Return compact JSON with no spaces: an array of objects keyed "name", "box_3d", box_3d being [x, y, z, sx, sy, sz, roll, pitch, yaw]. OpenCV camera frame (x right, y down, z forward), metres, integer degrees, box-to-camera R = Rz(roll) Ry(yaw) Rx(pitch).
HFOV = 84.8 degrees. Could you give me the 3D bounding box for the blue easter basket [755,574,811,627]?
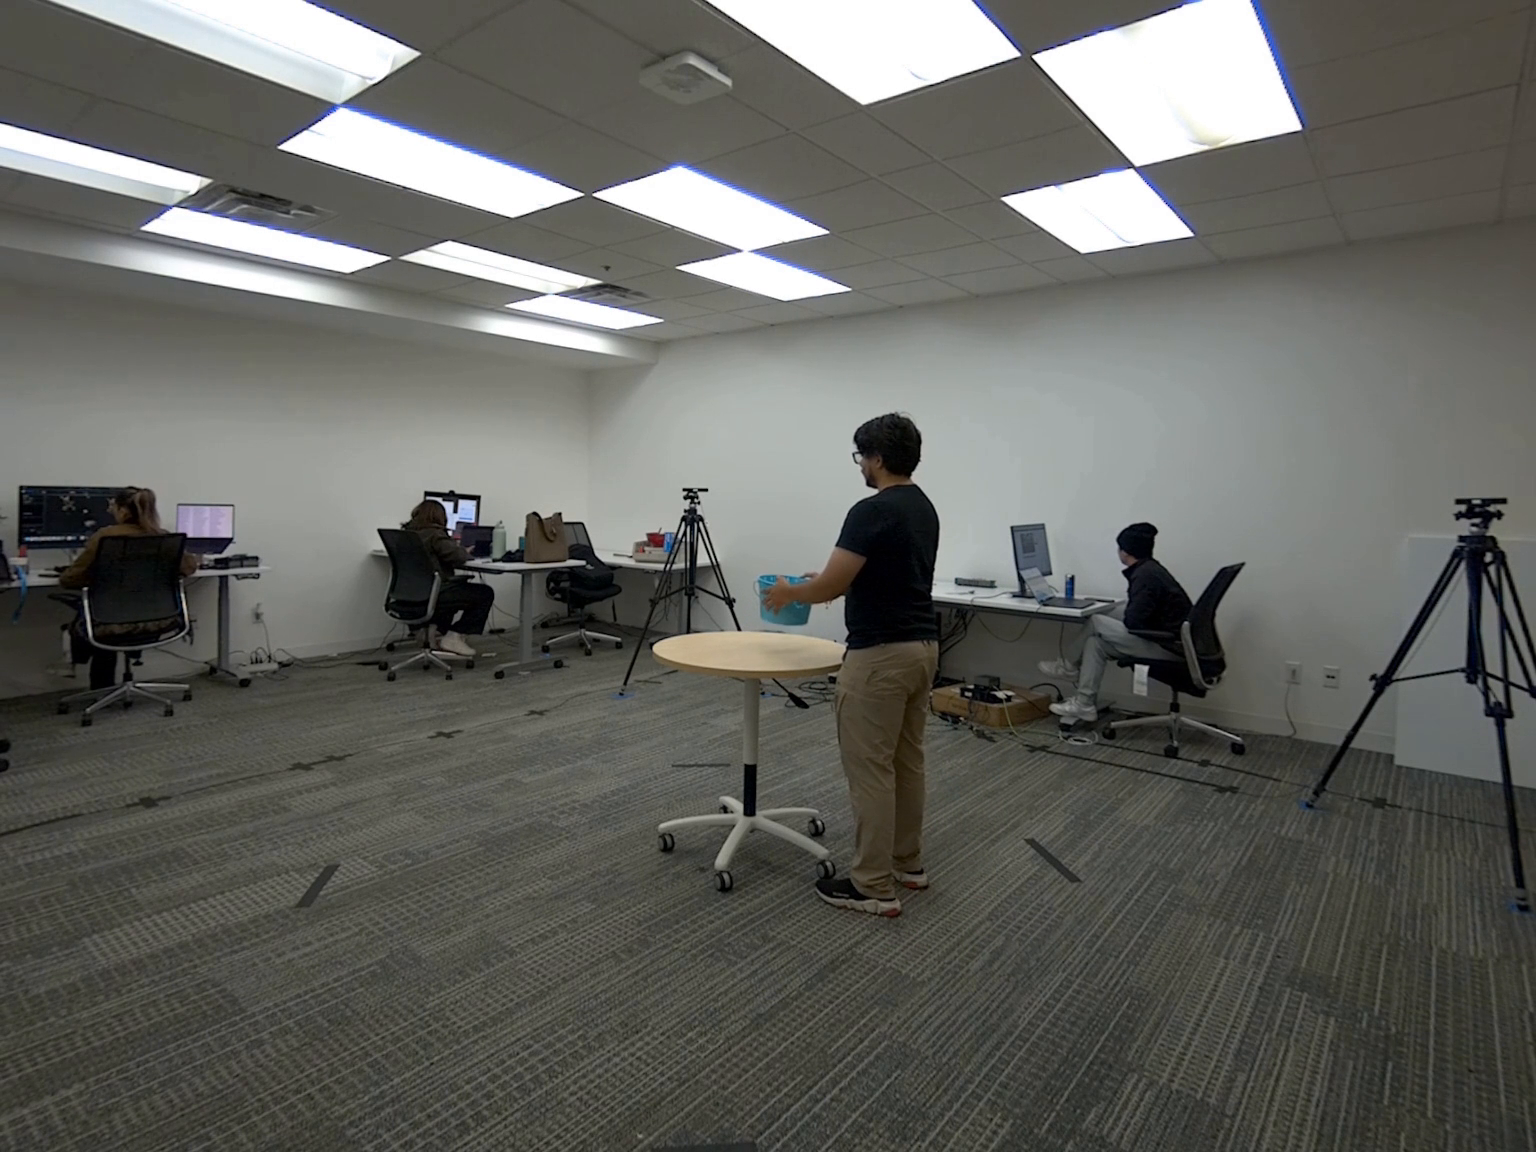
[{"name":"blue easter basket","box_3d":[0.069,0.095,3.223,0.243,0.155,0.246,5,9,-3]}]
